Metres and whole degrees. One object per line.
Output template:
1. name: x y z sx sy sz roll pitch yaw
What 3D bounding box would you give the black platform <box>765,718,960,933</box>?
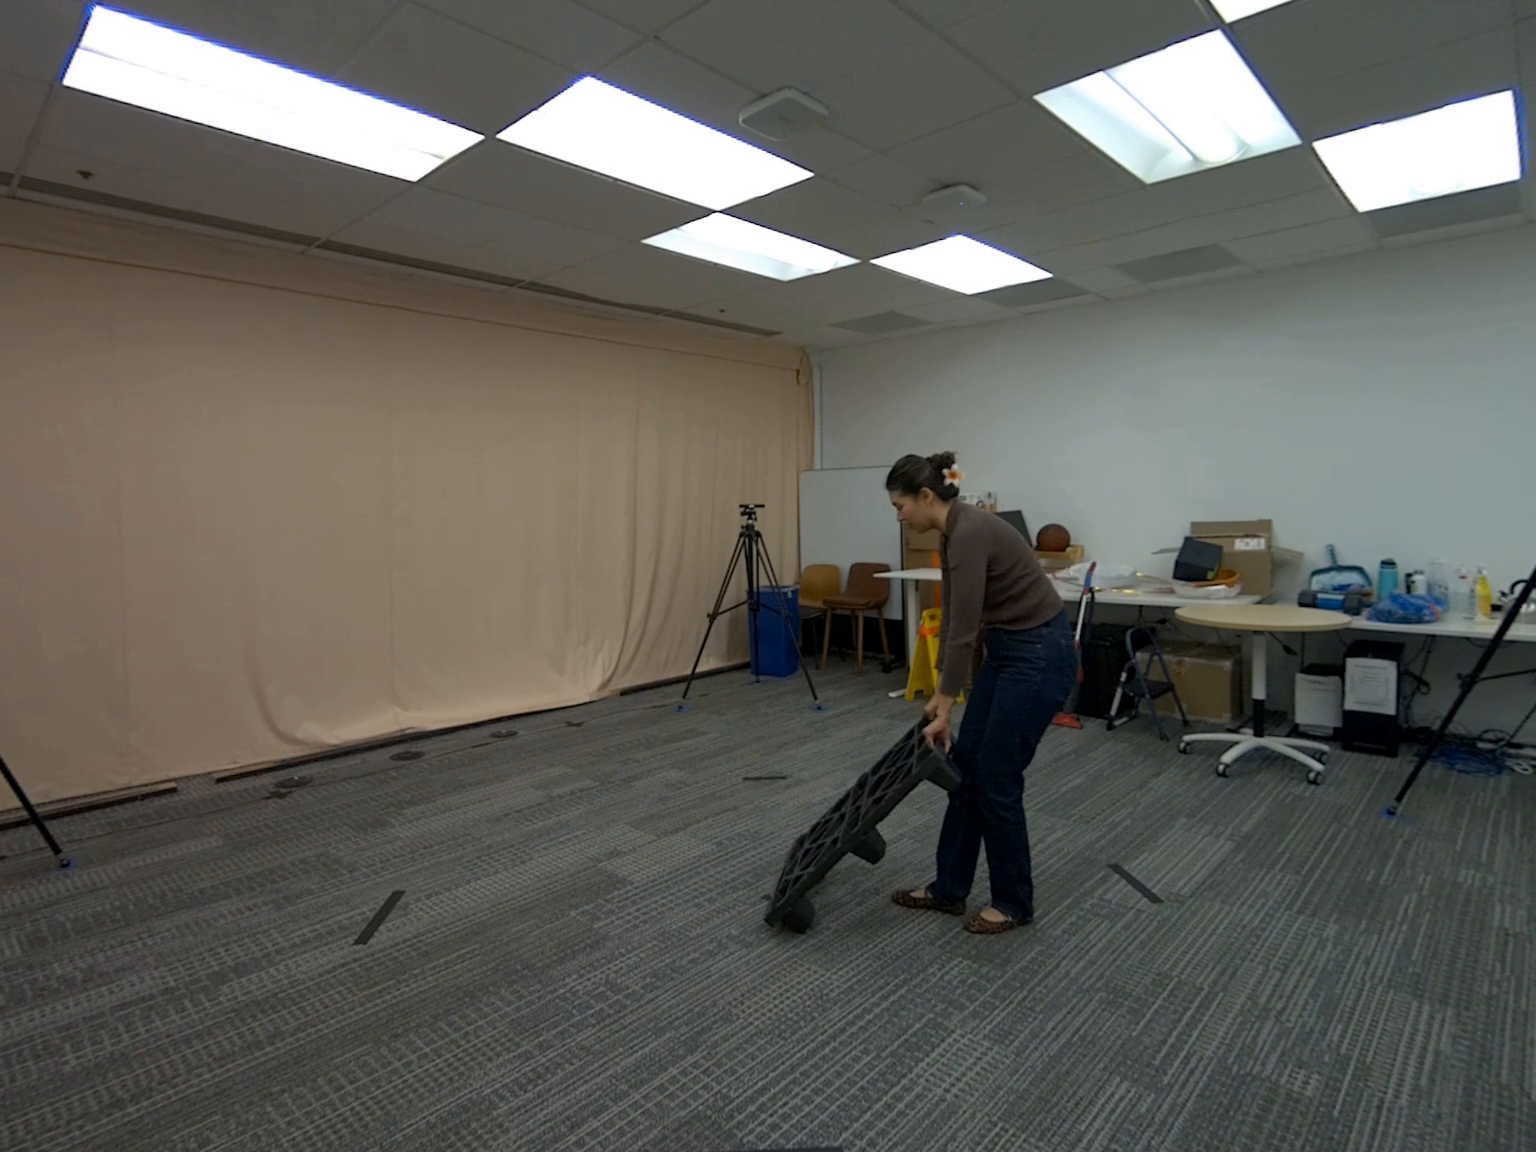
1. black platform: 0.347 0.822 2.880 0.144 0.808 0.599 43 12 4
